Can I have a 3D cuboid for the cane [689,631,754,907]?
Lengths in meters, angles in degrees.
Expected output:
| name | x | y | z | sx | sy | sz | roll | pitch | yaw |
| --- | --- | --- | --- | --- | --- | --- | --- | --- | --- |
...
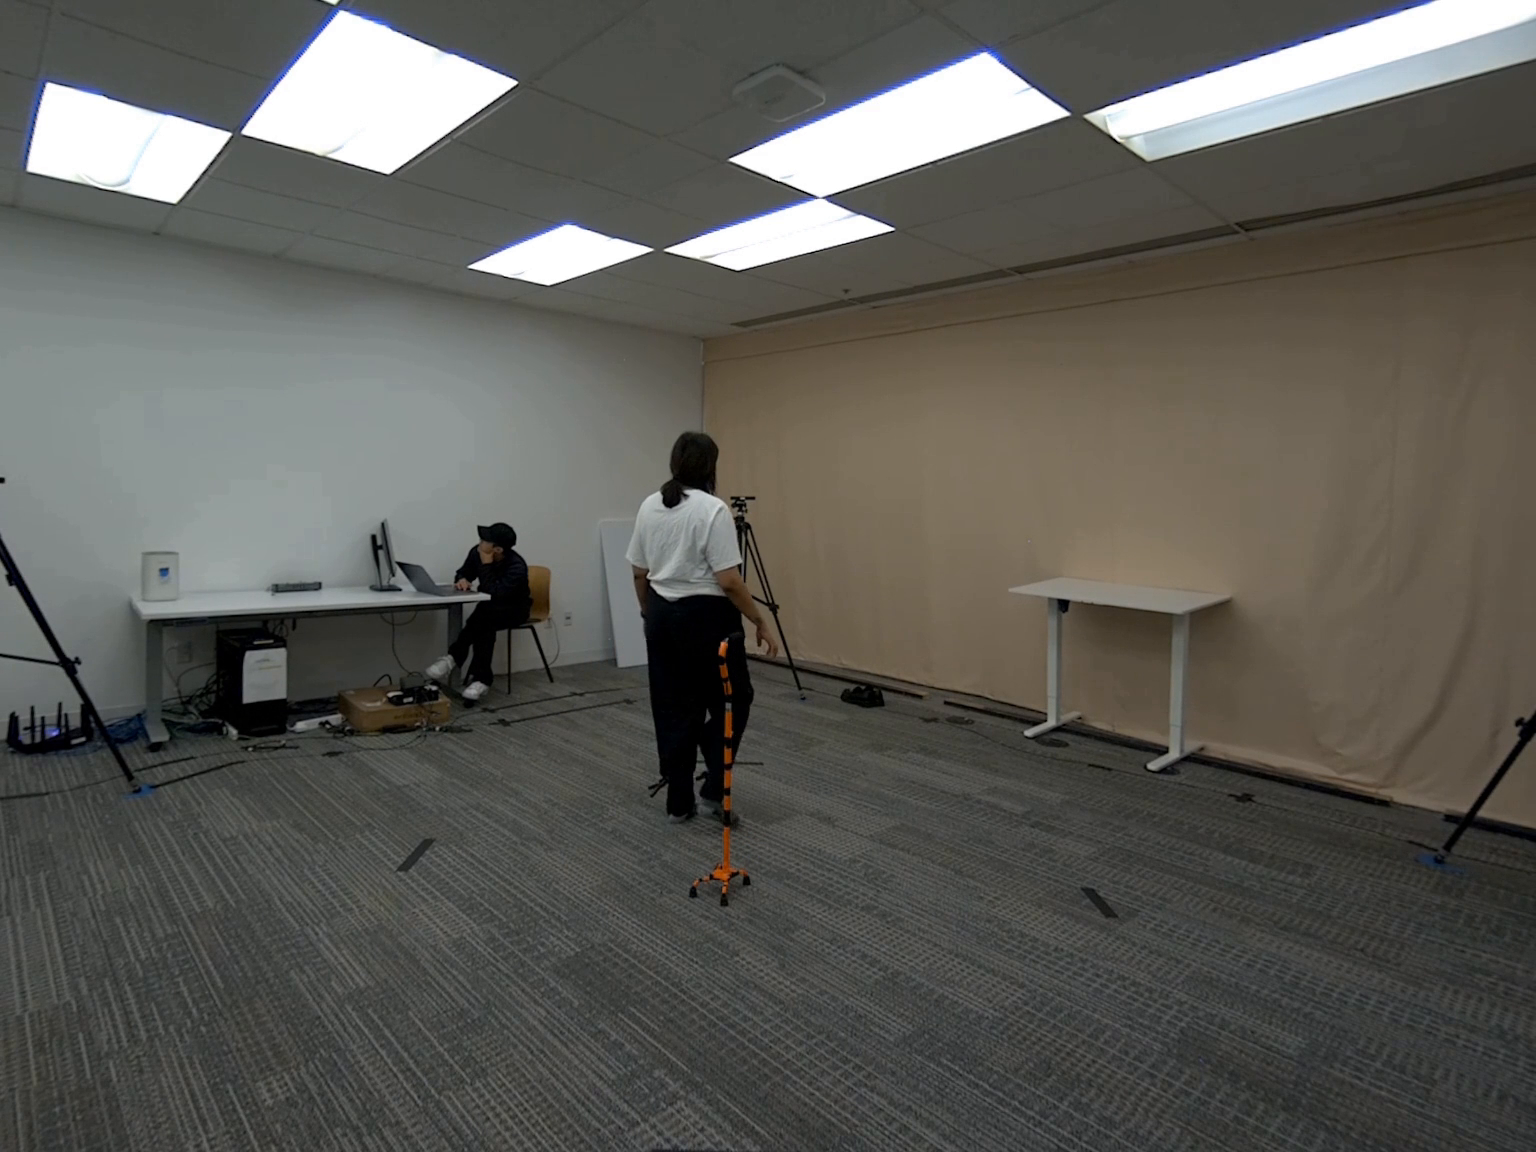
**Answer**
| name | x | y | z | sx | sy | sz | roll | pitch | yaw |
| --- | --- | --- | --- | --- | --- | --- | --- | --- | --- |
| cane | -0.172 | 0.667 | 2.955 | 0.154 | 0.905 | 0.203 | 2 | 4 | 25 |
